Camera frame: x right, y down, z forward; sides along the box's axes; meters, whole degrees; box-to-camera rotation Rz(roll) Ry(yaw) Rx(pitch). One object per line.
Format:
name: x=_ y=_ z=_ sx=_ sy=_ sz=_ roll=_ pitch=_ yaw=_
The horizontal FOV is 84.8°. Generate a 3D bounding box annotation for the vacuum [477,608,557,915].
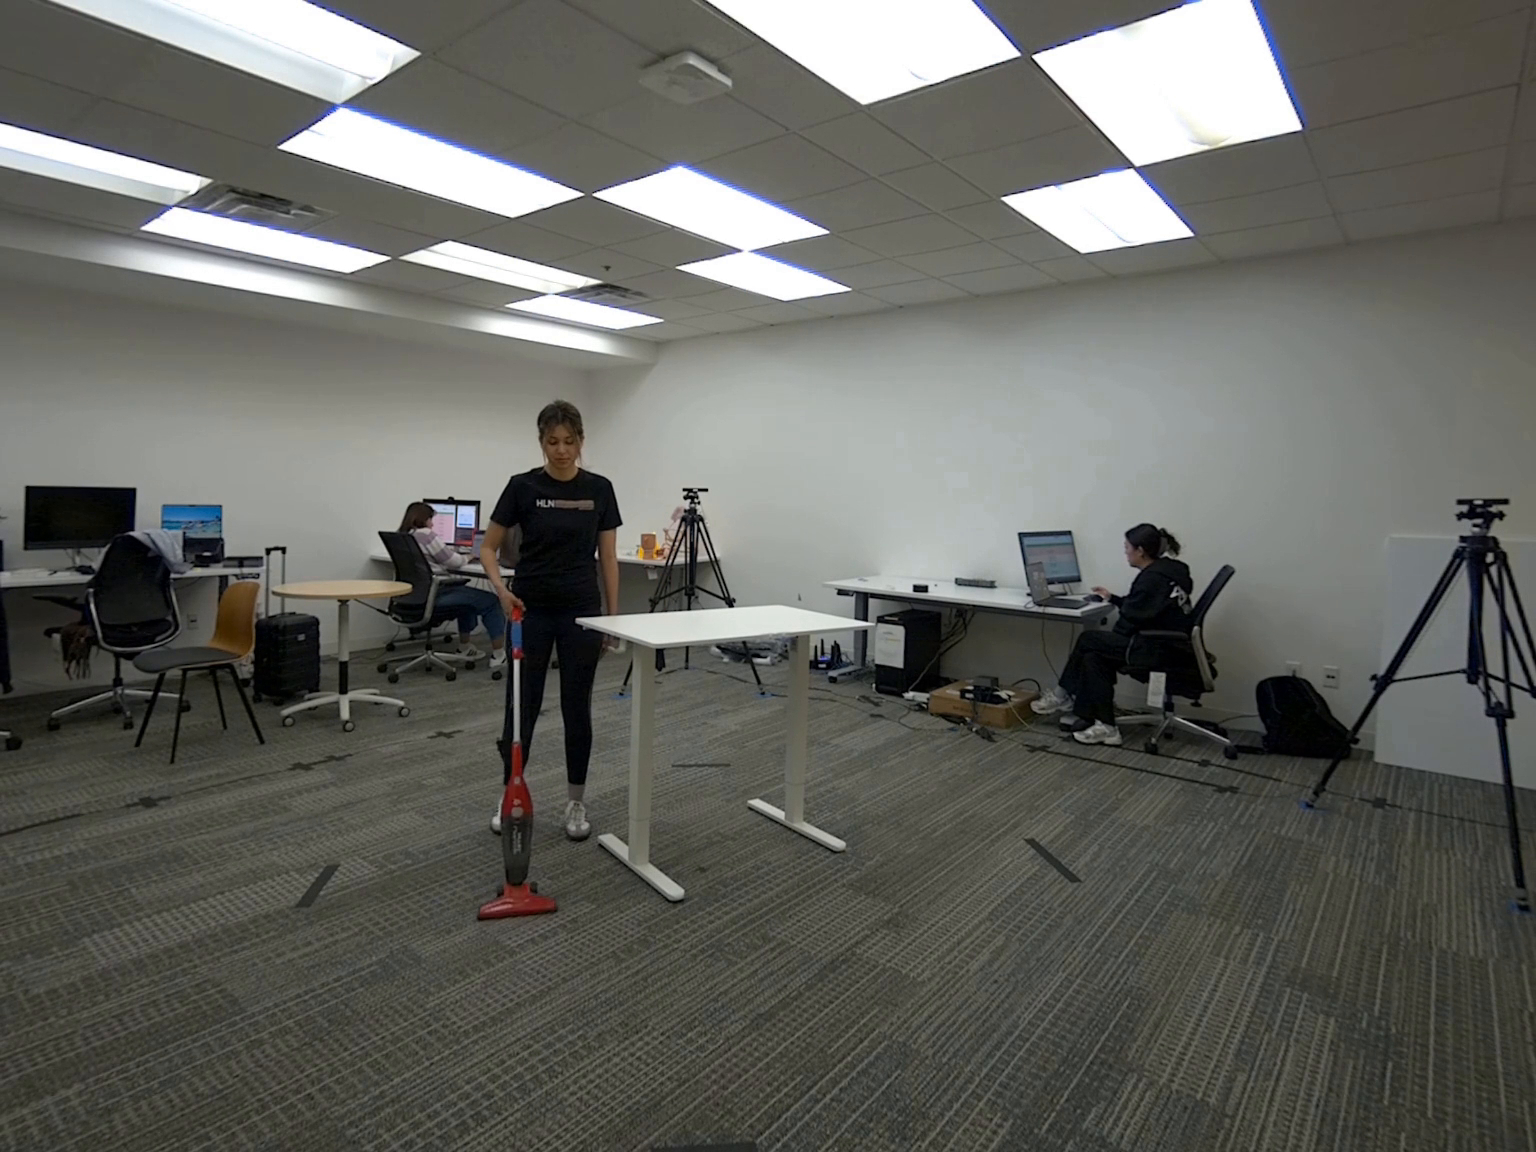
vacuum: x=-0.904 y=0.599 z=3.012 sx=0.248 sy=1.073 sz=0.143 roll=-1 pitch=-23 yaw=-16
